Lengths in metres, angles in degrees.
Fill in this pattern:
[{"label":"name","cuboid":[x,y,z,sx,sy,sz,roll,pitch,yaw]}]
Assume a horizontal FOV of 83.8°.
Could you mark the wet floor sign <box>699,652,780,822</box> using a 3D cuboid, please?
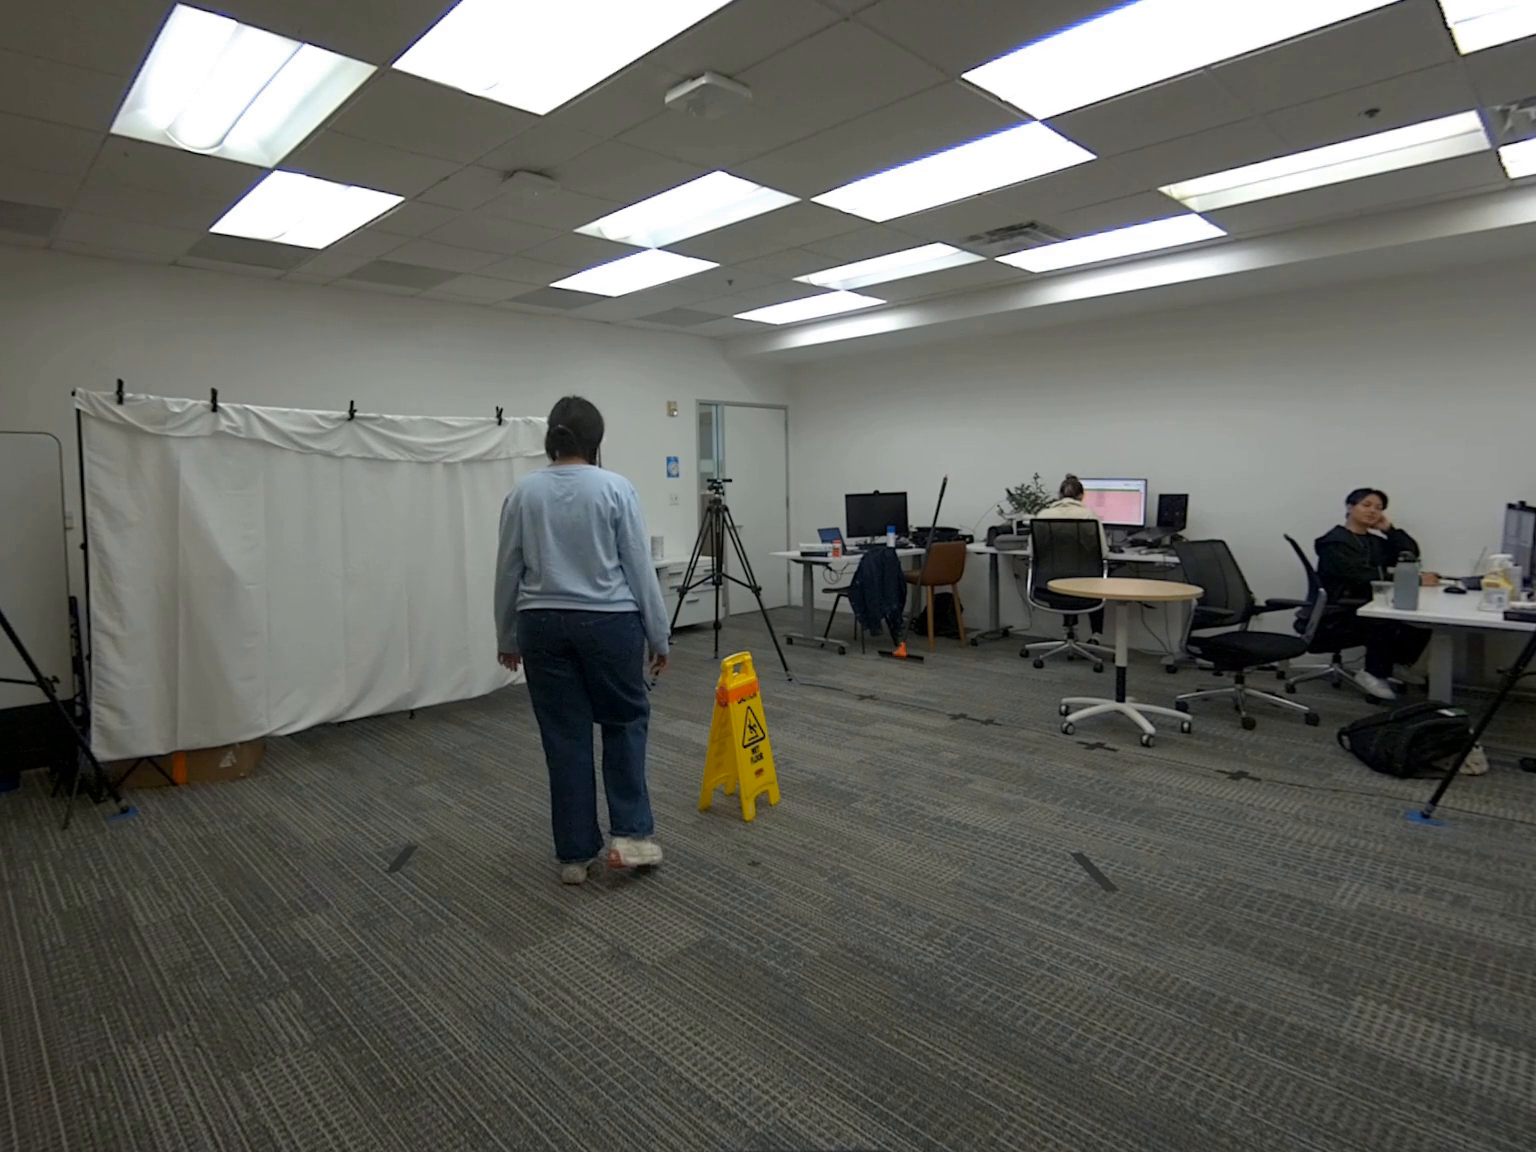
[{"label":"wet floor sign","cuboid":[-0.131,0.661,3.652,0.297,0.644,0.275,0,3,31]}]
